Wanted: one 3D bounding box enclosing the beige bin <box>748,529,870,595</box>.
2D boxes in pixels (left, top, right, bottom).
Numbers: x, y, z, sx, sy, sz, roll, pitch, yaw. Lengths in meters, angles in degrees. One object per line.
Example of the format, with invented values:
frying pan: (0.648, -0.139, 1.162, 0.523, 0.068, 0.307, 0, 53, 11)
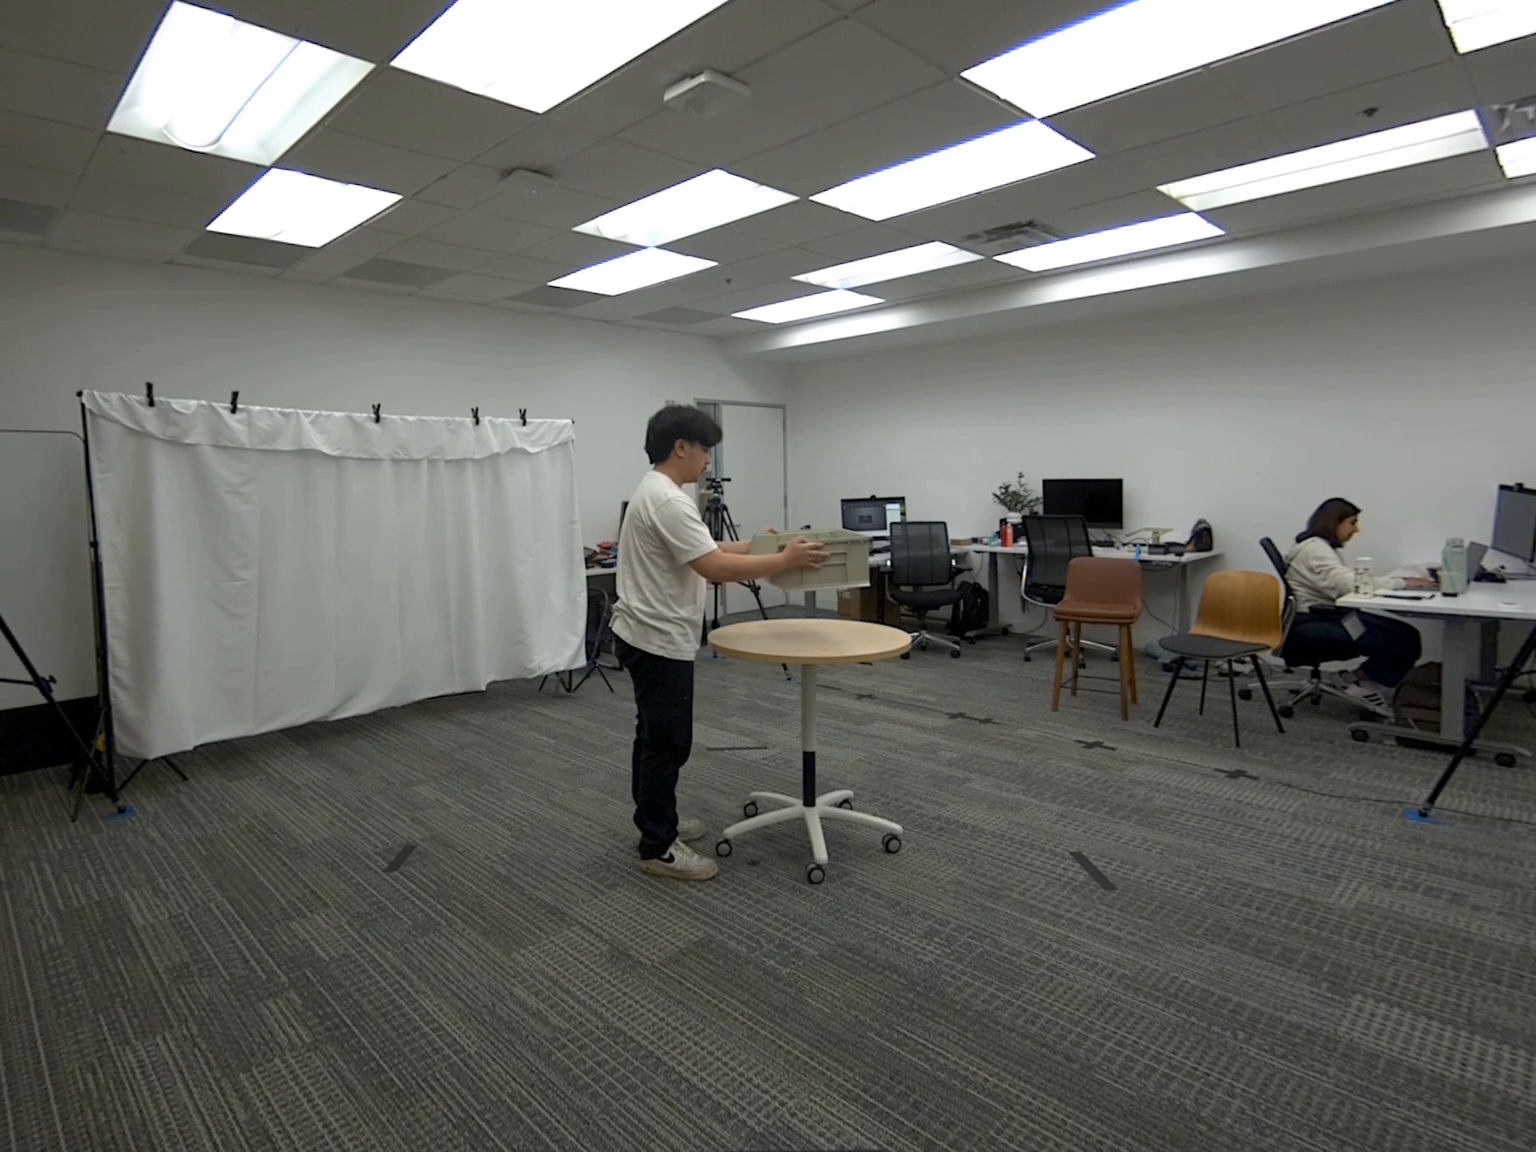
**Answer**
beige bin: (0.147, -0.051, 3.196, 0.374, 0.188, 0.428, -3, 7, -11)
